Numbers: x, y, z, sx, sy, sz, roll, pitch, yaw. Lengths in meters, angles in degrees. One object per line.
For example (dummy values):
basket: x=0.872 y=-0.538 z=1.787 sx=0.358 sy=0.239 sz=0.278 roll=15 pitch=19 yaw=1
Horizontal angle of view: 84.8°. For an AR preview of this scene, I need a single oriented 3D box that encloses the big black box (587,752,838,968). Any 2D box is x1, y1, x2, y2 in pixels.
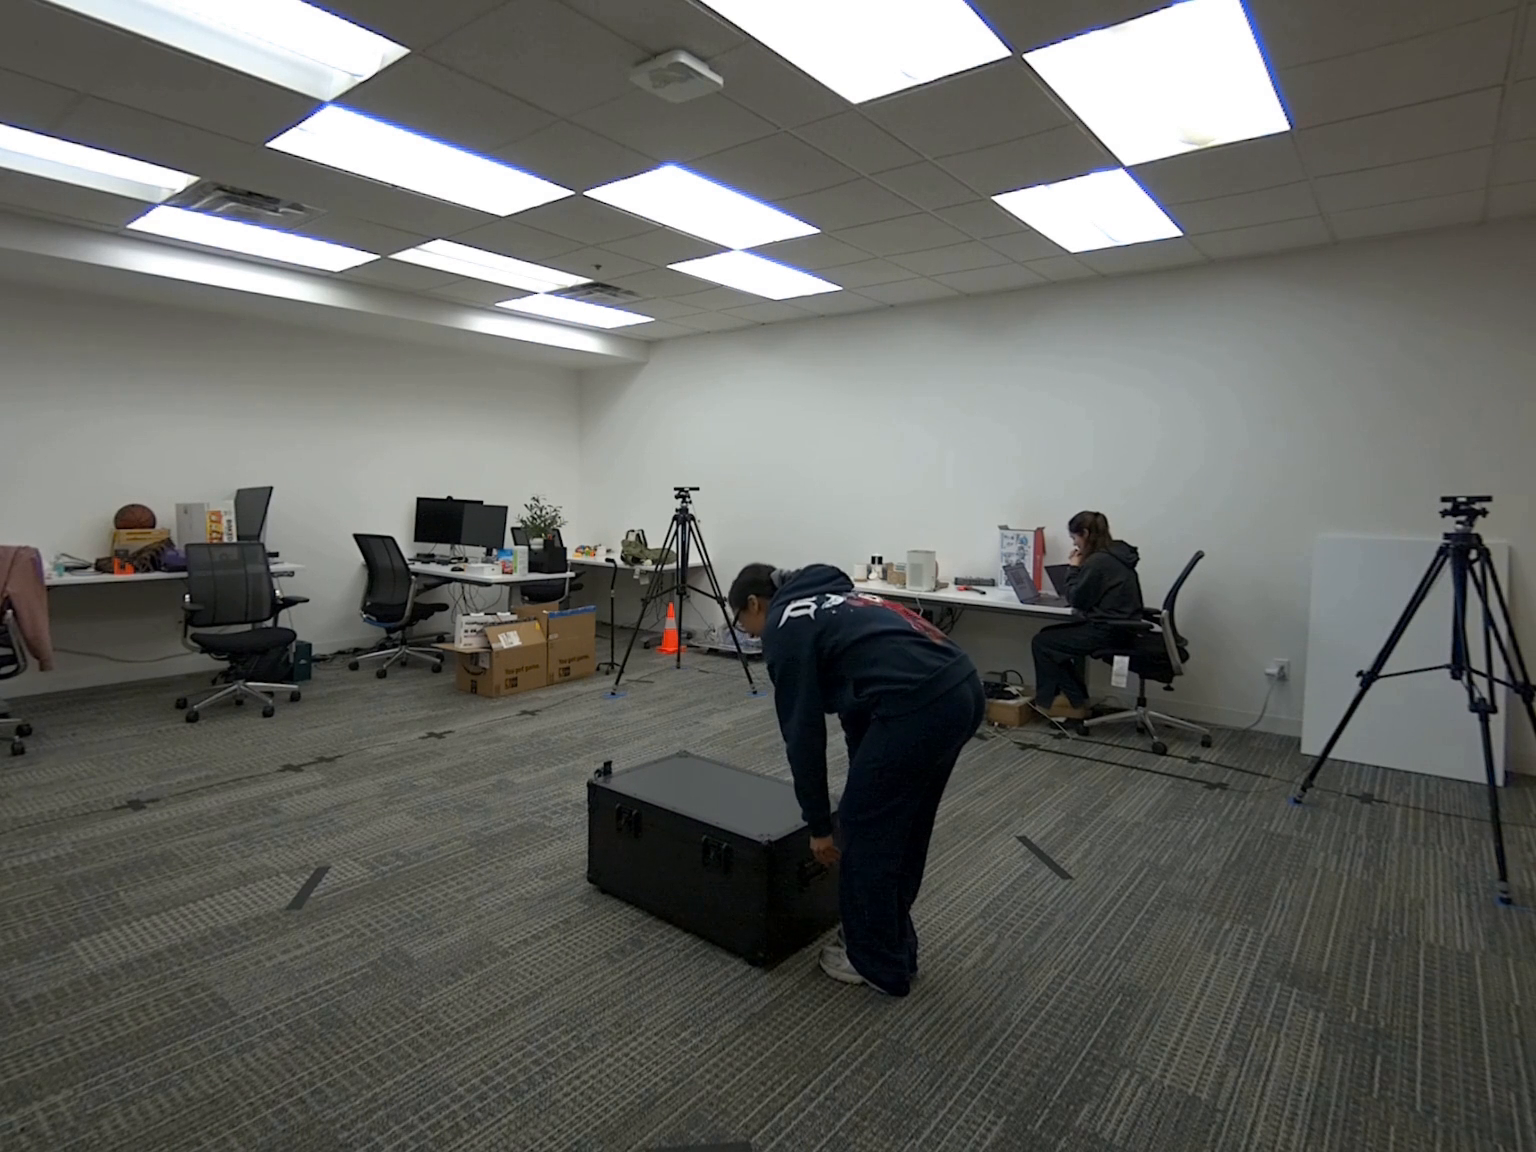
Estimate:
big black box: x=-0.201 y=0.899 z=2.881 sx=0.891 sy=0.395 sz=0.506 roll=6 pitch=6 yaw=38
